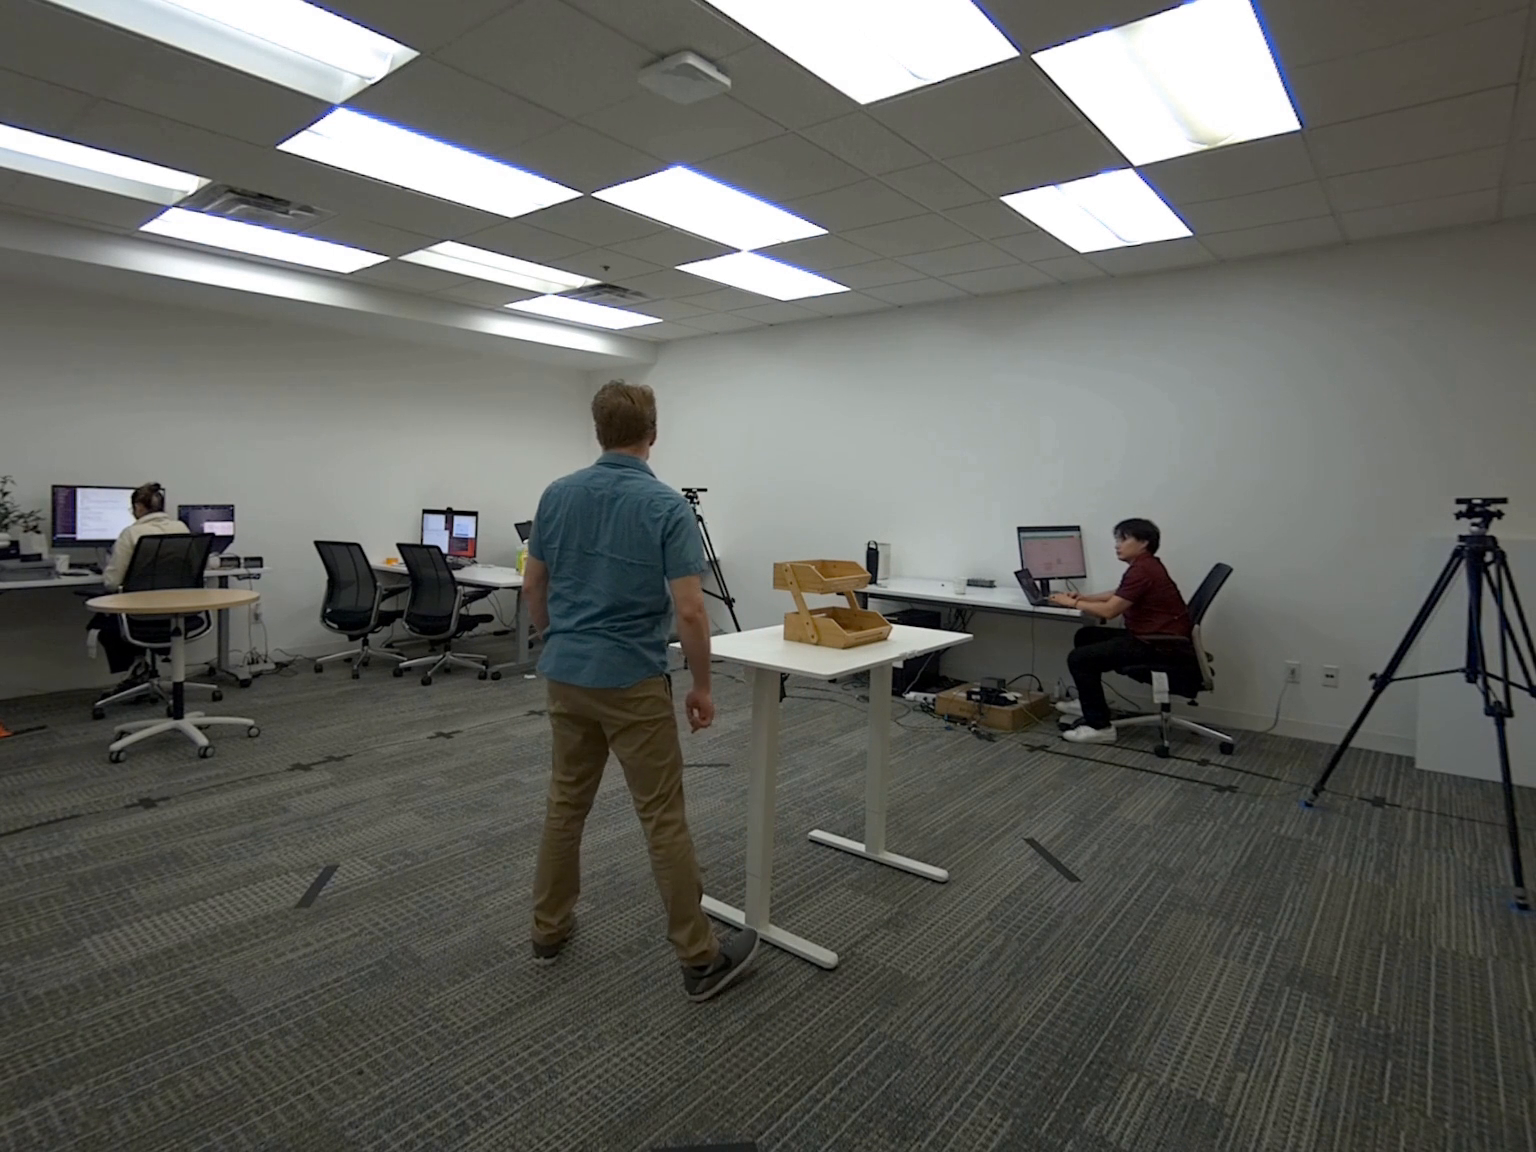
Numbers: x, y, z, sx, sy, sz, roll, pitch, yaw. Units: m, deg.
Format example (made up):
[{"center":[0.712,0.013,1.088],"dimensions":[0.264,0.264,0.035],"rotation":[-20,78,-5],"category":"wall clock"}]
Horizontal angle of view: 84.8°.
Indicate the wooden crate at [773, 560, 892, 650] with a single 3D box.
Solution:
[{"center":[0.222,0.083,2.921],"dimensions":[0.312,0.272,0.315],"rotation":[5,5,38],"category":"wooden crate"}]
